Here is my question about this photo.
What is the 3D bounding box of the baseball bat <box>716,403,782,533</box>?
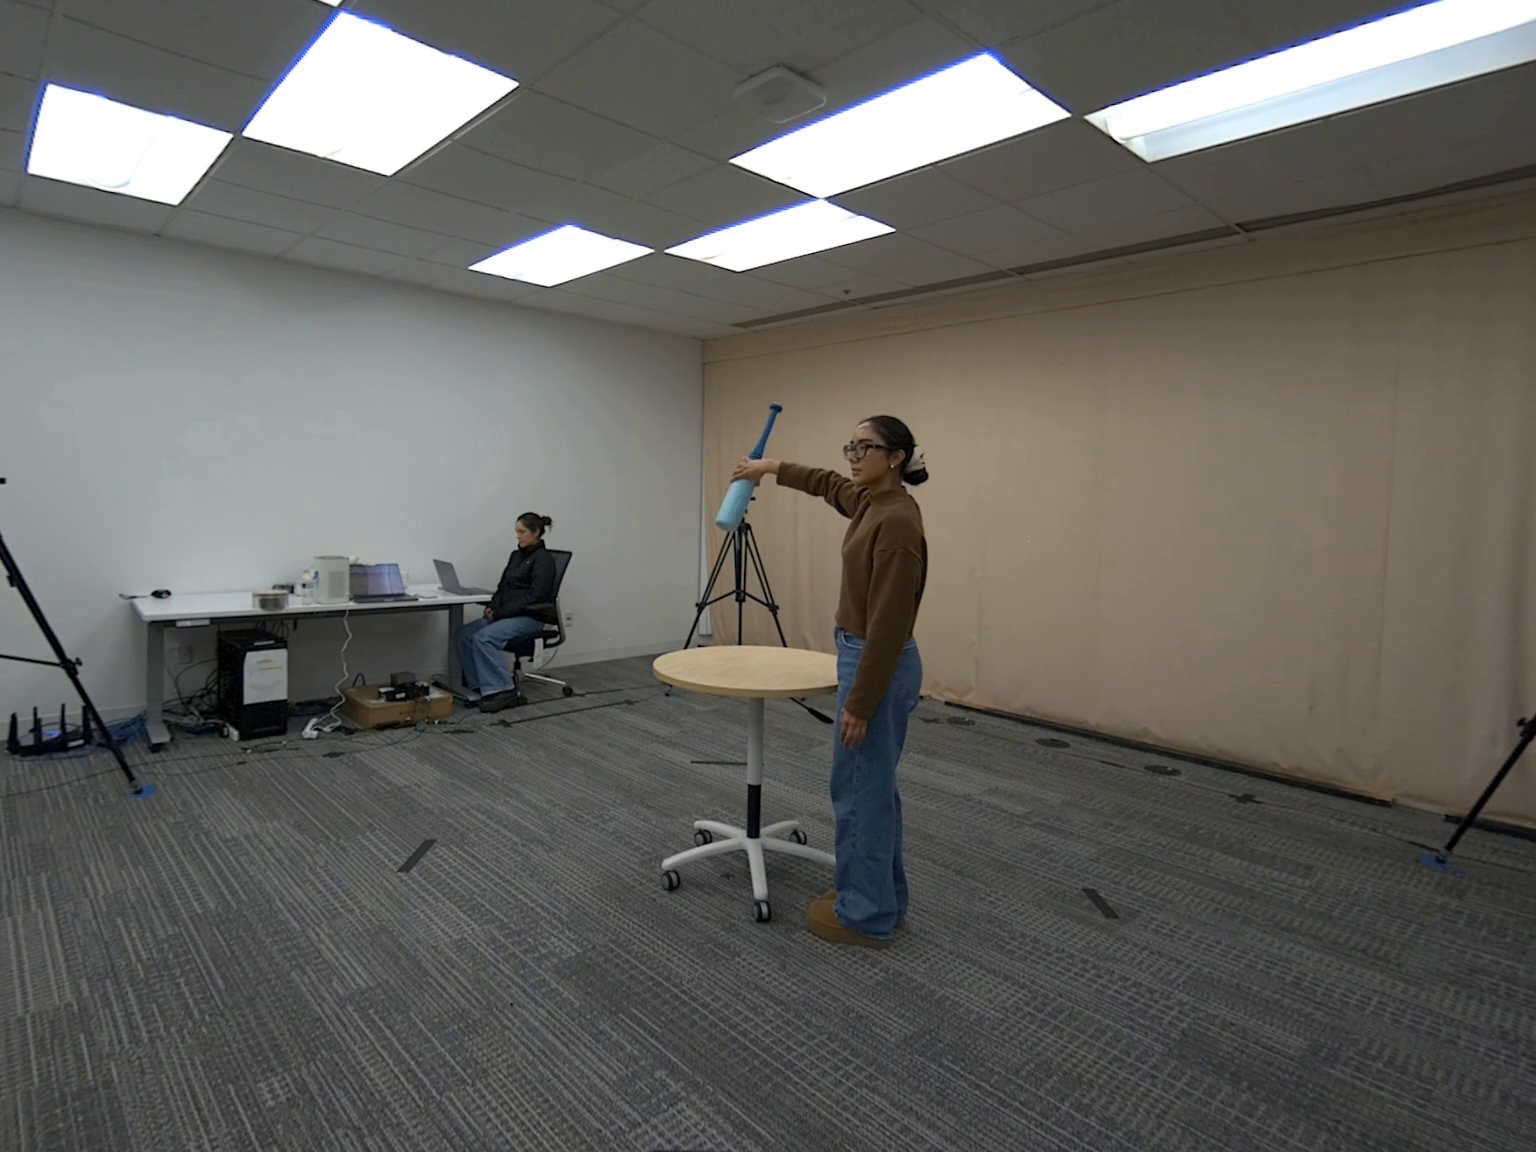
[{"bbox_3d":[-0.066,-0.411,3.131,0.089,0.547,0.088,18,-20,5],"label":"baseball bat"}]
